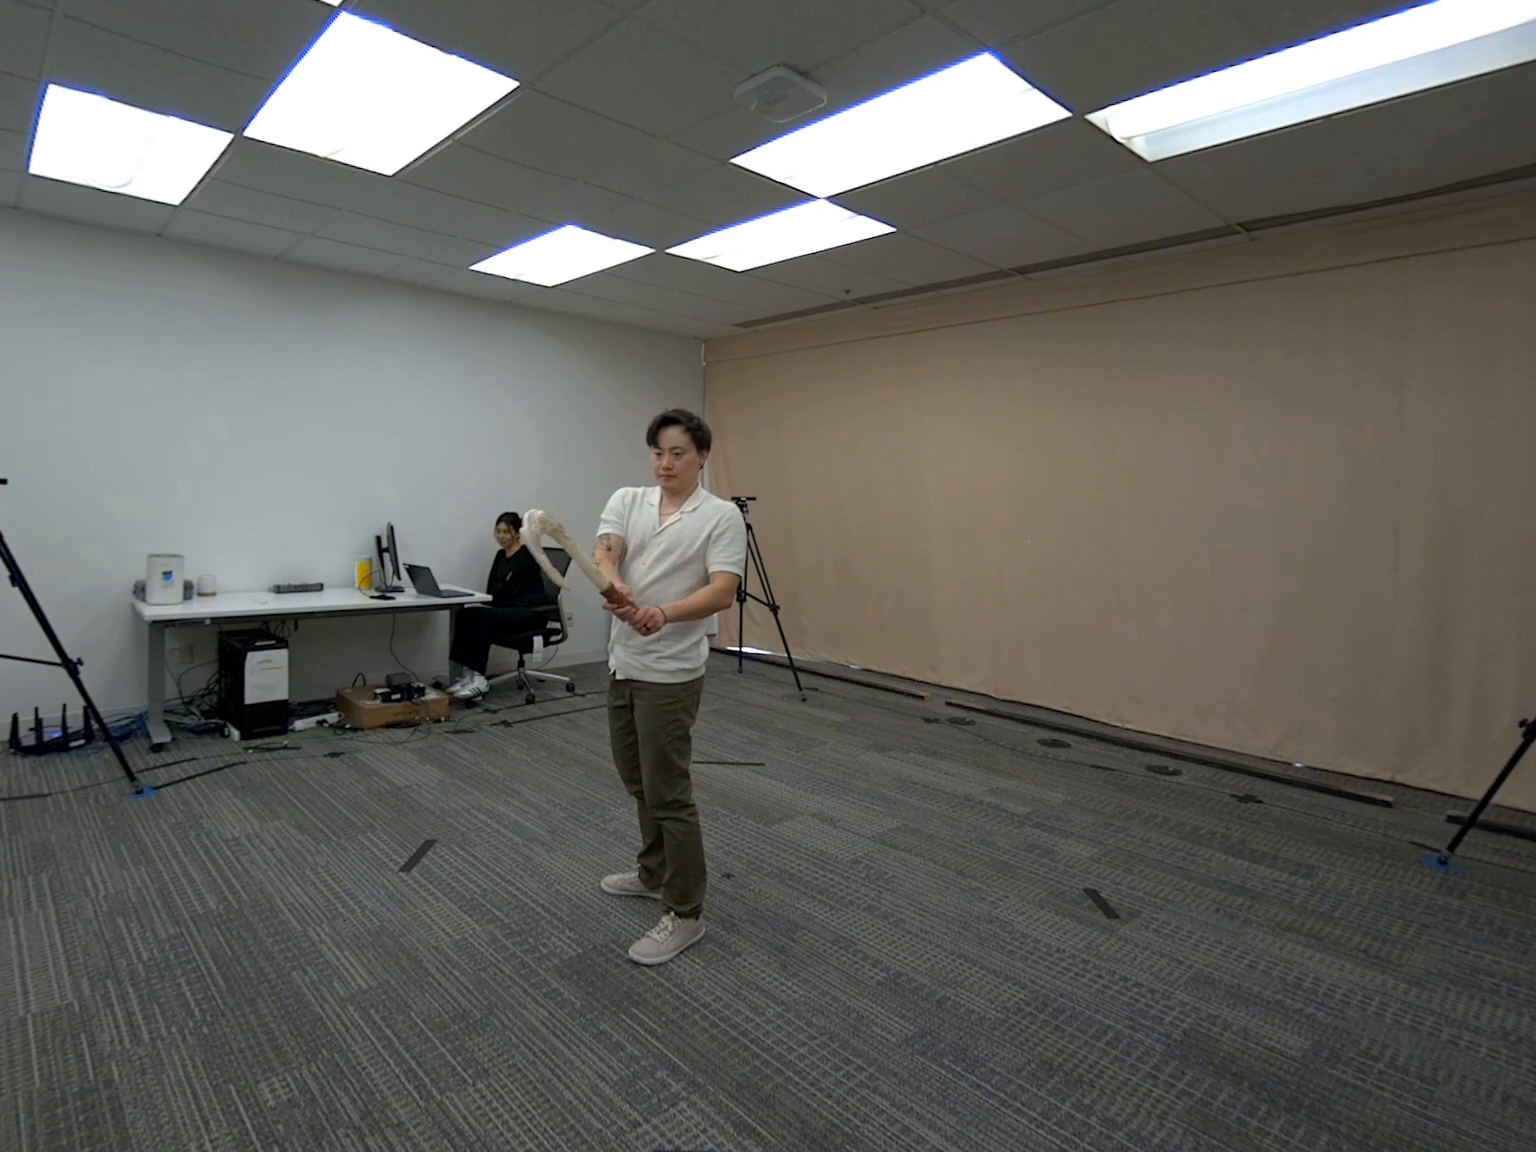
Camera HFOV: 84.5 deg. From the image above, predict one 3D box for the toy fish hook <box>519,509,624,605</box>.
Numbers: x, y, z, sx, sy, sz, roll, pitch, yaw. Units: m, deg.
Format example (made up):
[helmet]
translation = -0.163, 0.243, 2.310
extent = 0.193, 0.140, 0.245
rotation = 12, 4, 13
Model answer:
[toy fish hook]
translation = -0.497, 0.029, 2.245
extent = 0.048, 0.493, 0.229
rotation = -29, 29, 21
